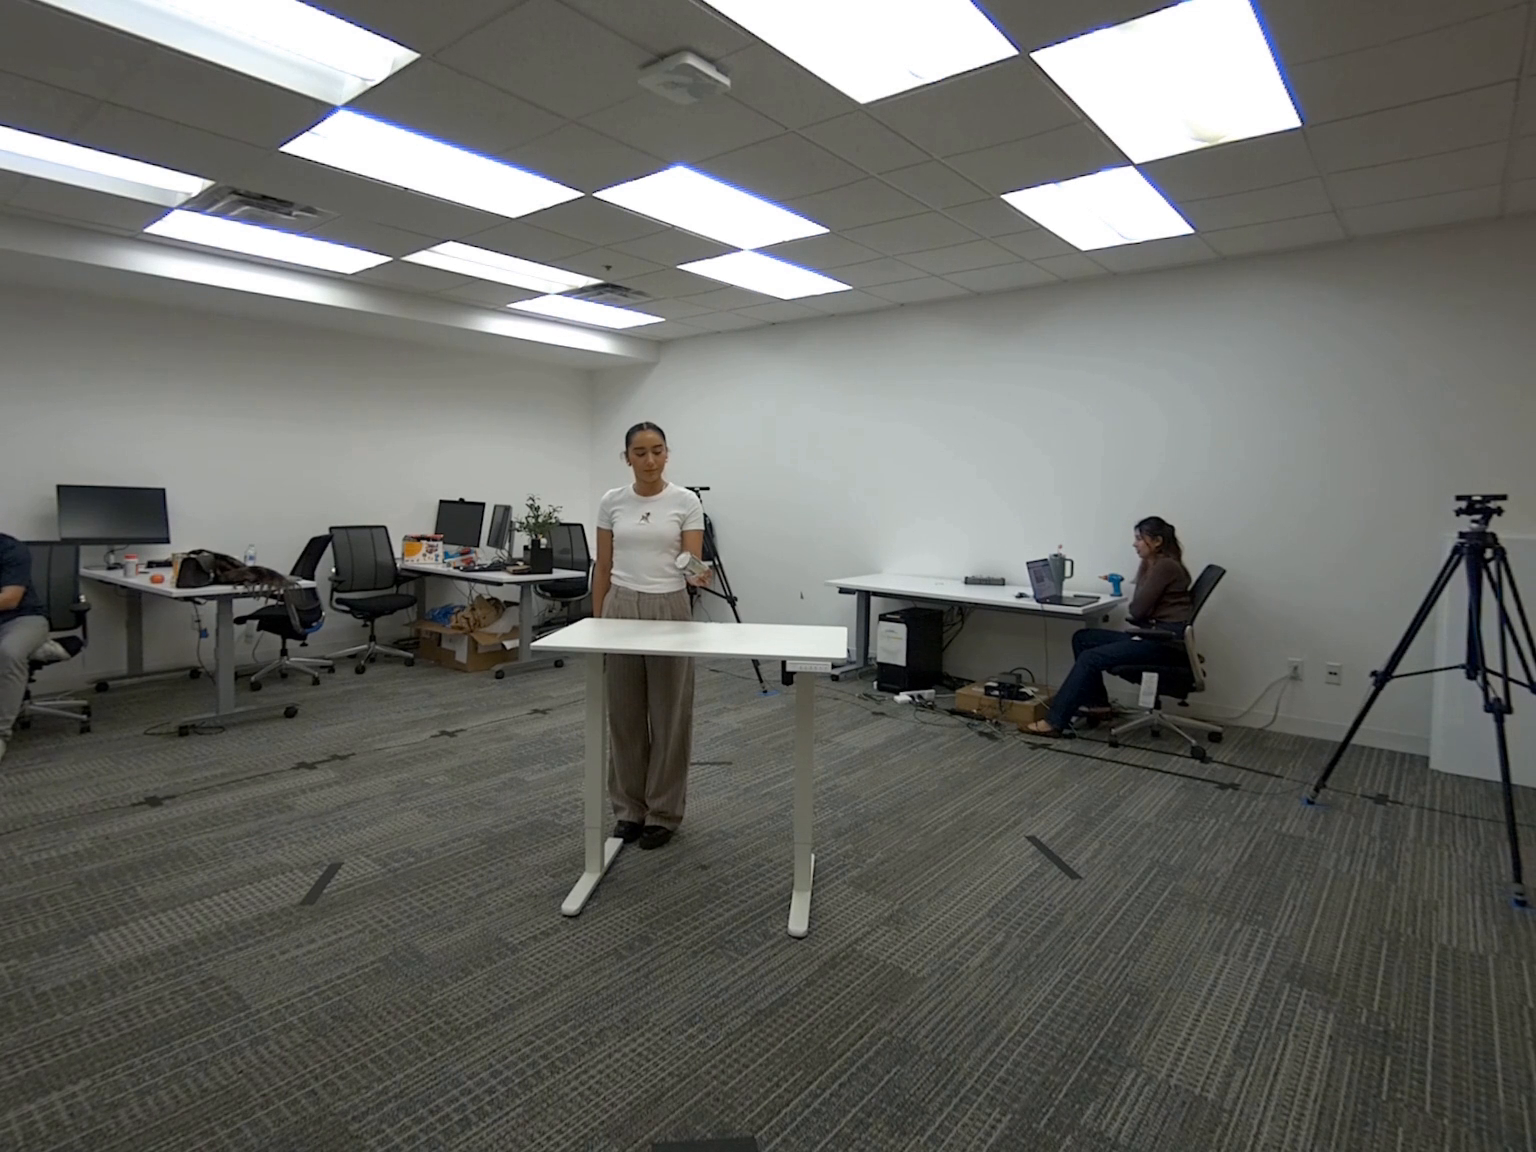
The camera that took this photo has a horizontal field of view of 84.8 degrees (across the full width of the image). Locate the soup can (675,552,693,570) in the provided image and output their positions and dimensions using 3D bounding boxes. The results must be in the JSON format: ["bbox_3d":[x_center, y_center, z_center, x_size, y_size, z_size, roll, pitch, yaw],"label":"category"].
[{"bbox_3d":[-0.279,-0.038,2.933,0.069,0.068,0.116,3,-25,30],"label":"soup can"}]
